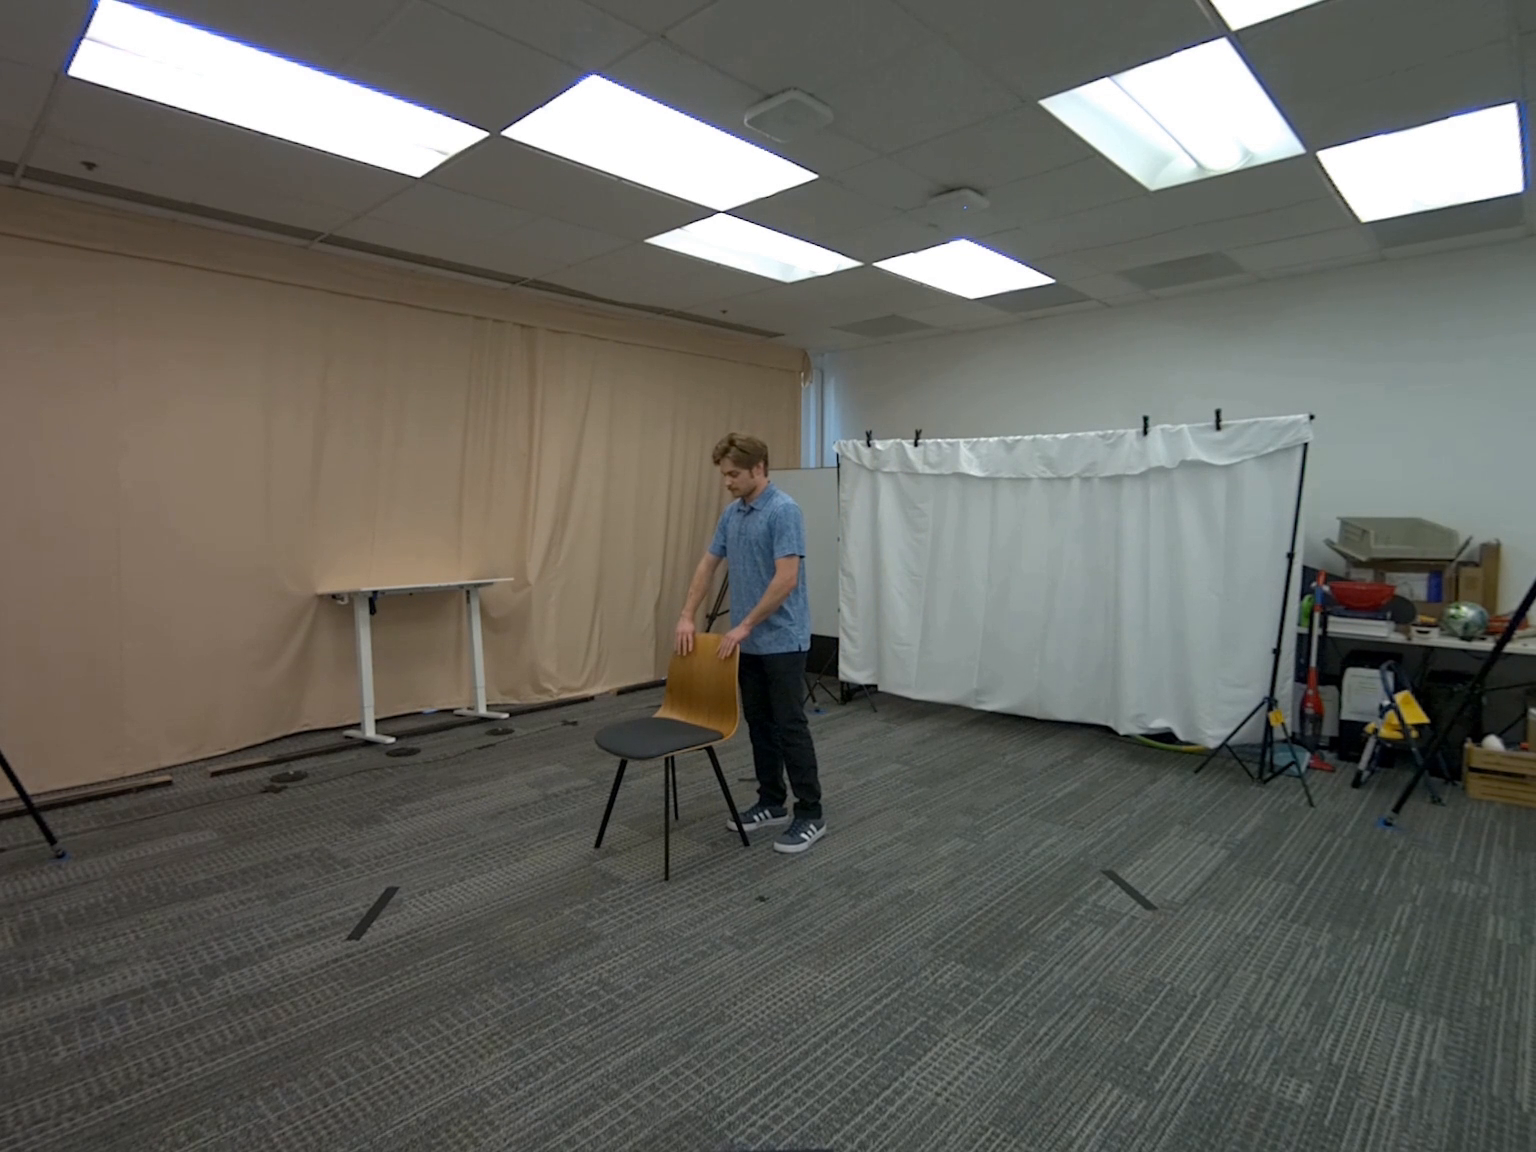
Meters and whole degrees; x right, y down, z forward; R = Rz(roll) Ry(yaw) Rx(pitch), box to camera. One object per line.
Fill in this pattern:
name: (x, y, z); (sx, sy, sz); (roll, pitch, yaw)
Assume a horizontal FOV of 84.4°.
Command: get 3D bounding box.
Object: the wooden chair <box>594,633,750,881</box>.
wooden chair: (-0.395, 0.681, 3.403); (0.494, 0.877, 0.506); (3, 0, 44)
